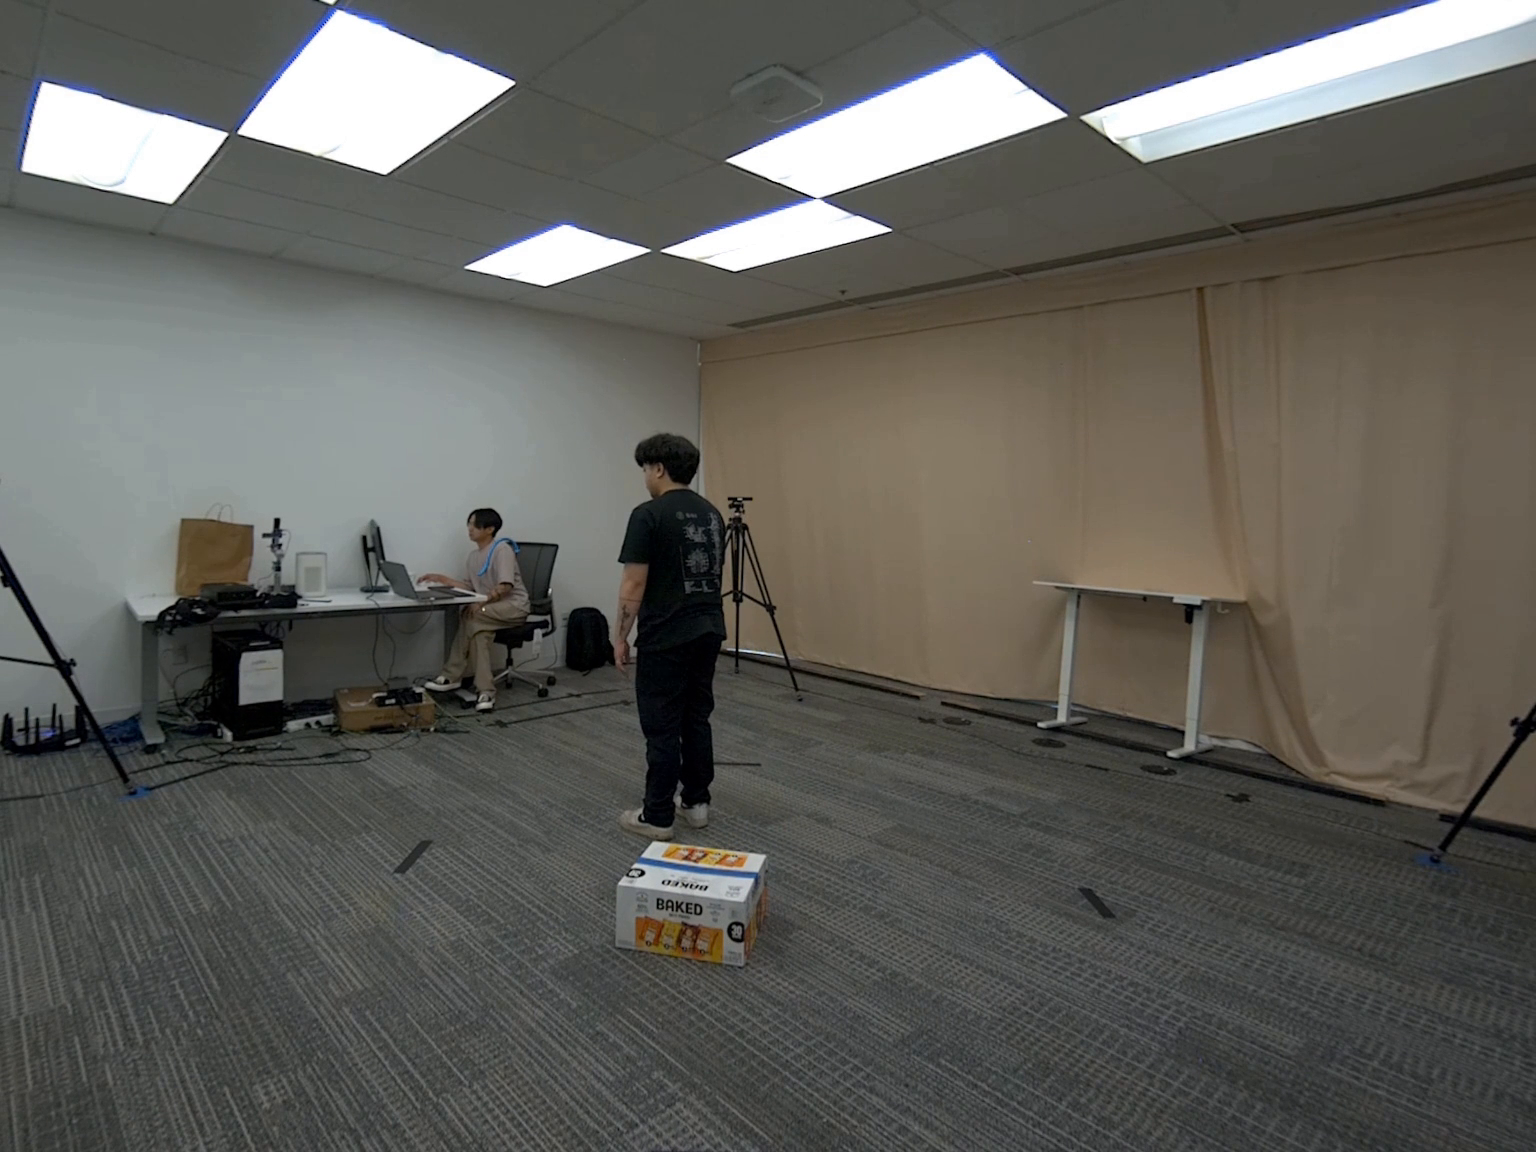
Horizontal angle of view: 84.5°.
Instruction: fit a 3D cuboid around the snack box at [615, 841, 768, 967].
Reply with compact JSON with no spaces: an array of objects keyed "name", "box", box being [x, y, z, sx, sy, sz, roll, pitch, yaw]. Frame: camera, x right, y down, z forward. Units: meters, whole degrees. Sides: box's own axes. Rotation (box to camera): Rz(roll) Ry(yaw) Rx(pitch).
[{"name":"snack box","box":[-0.239,1.039,2.694,0.409,0.205,0.337,3,4,12]}]
